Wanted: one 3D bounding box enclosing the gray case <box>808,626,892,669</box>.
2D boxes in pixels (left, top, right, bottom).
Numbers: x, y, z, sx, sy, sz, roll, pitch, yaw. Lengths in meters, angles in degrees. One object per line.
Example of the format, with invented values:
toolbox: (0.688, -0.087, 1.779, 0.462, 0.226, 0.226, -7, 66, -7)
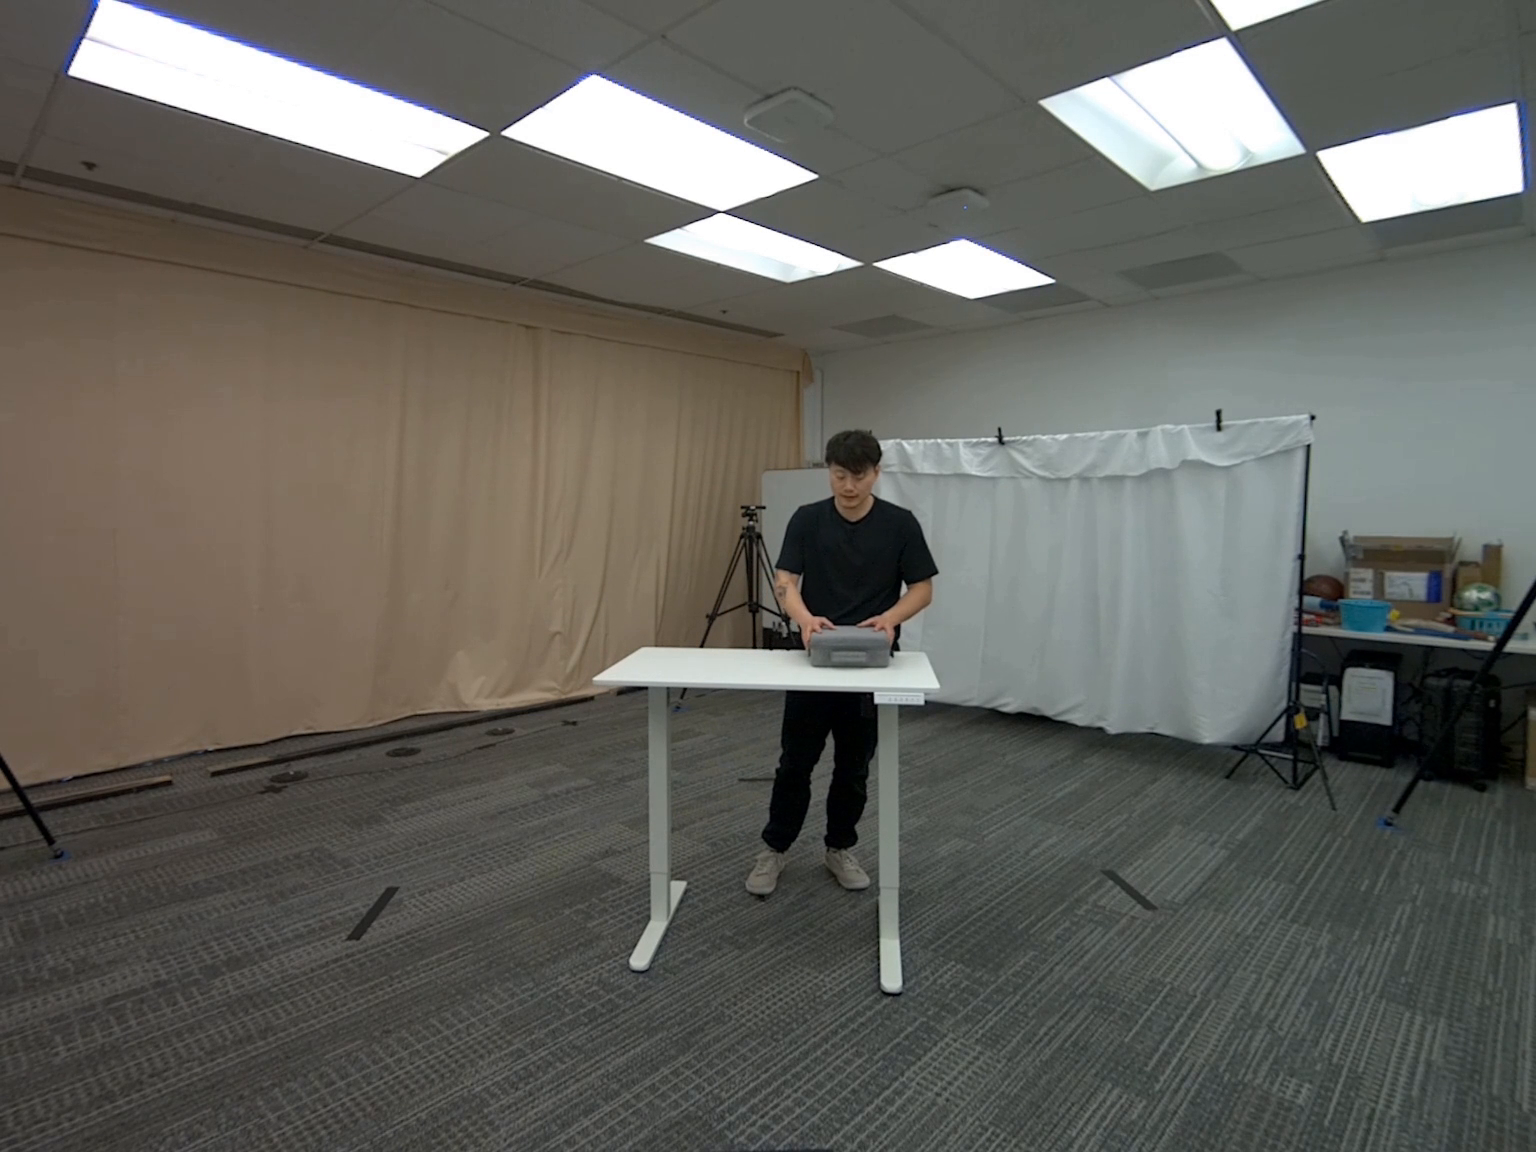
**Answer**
gray case: (0.259, 0.235, 2.739, 0.258, 0.104, 0.260, 2, 4, 4)
